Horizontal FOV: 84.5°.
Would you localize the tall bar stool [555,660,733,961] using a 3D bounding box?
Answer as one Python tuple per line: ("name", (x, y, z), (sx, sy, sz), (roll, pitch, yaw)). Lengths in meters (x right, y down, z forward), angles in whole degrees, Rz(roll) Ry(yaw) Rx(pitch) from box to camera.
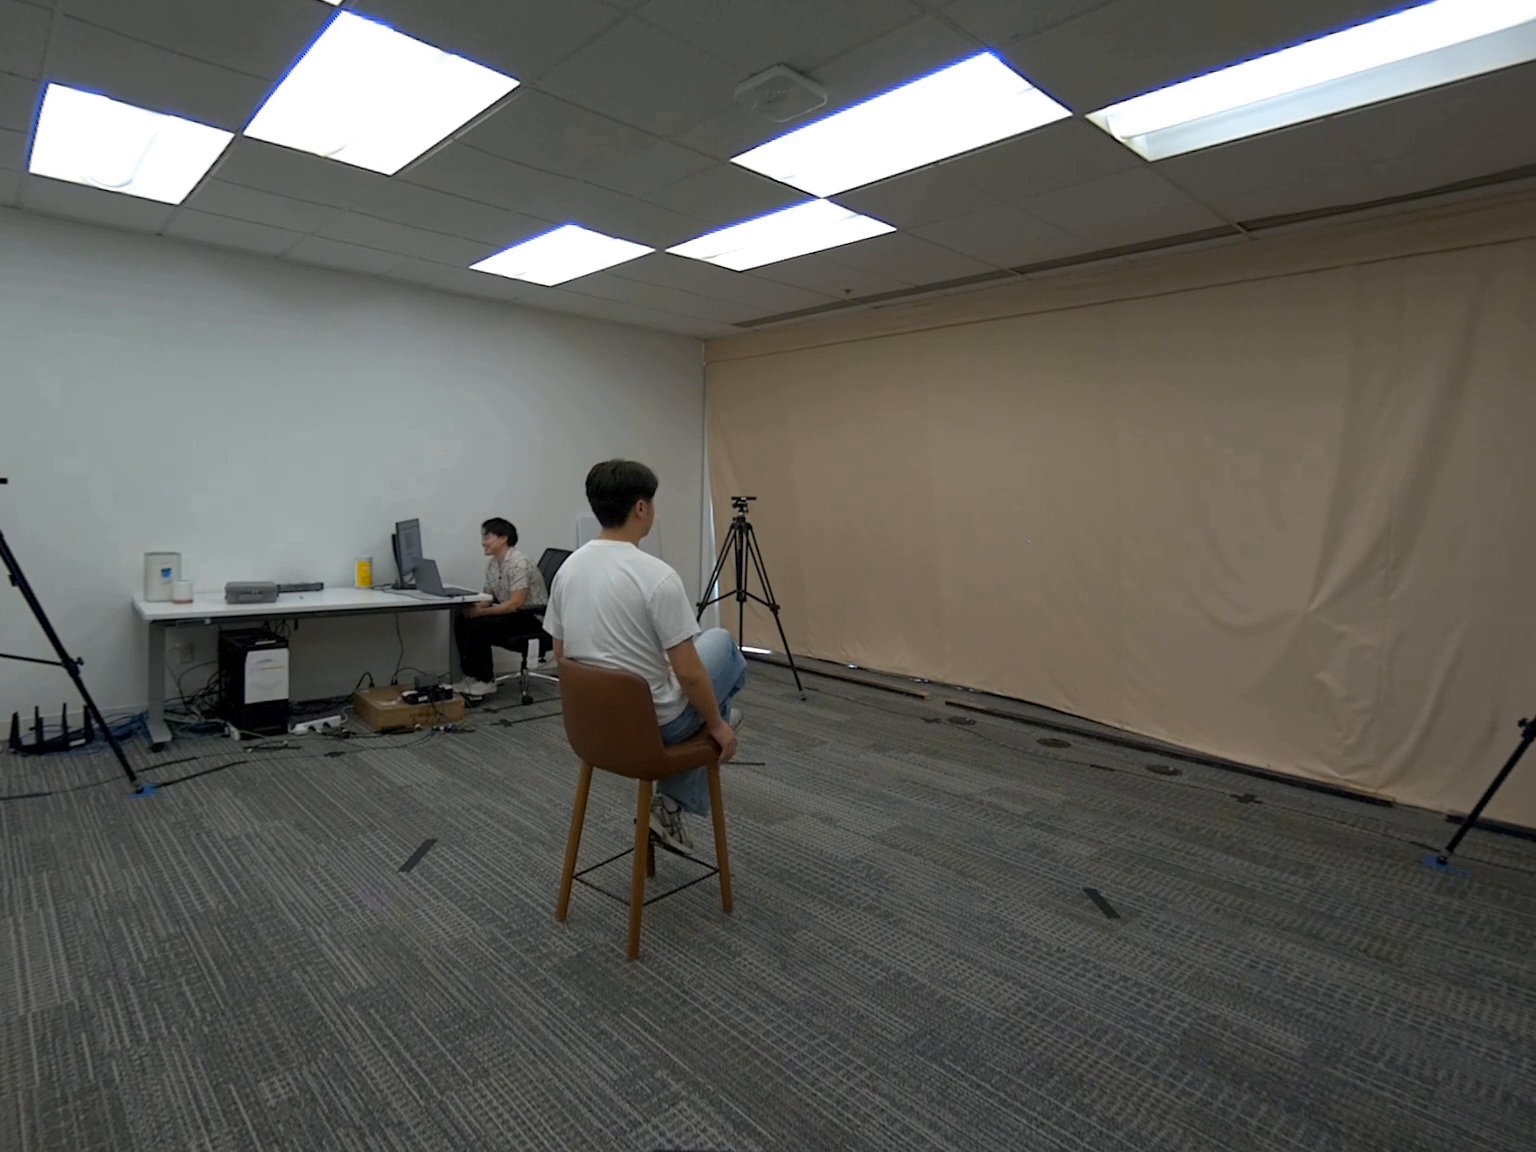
("tall bar stool", (-0.417, 0.696, 2.771), (0.468, 0.887, 0.458), (3, 6, 40))
